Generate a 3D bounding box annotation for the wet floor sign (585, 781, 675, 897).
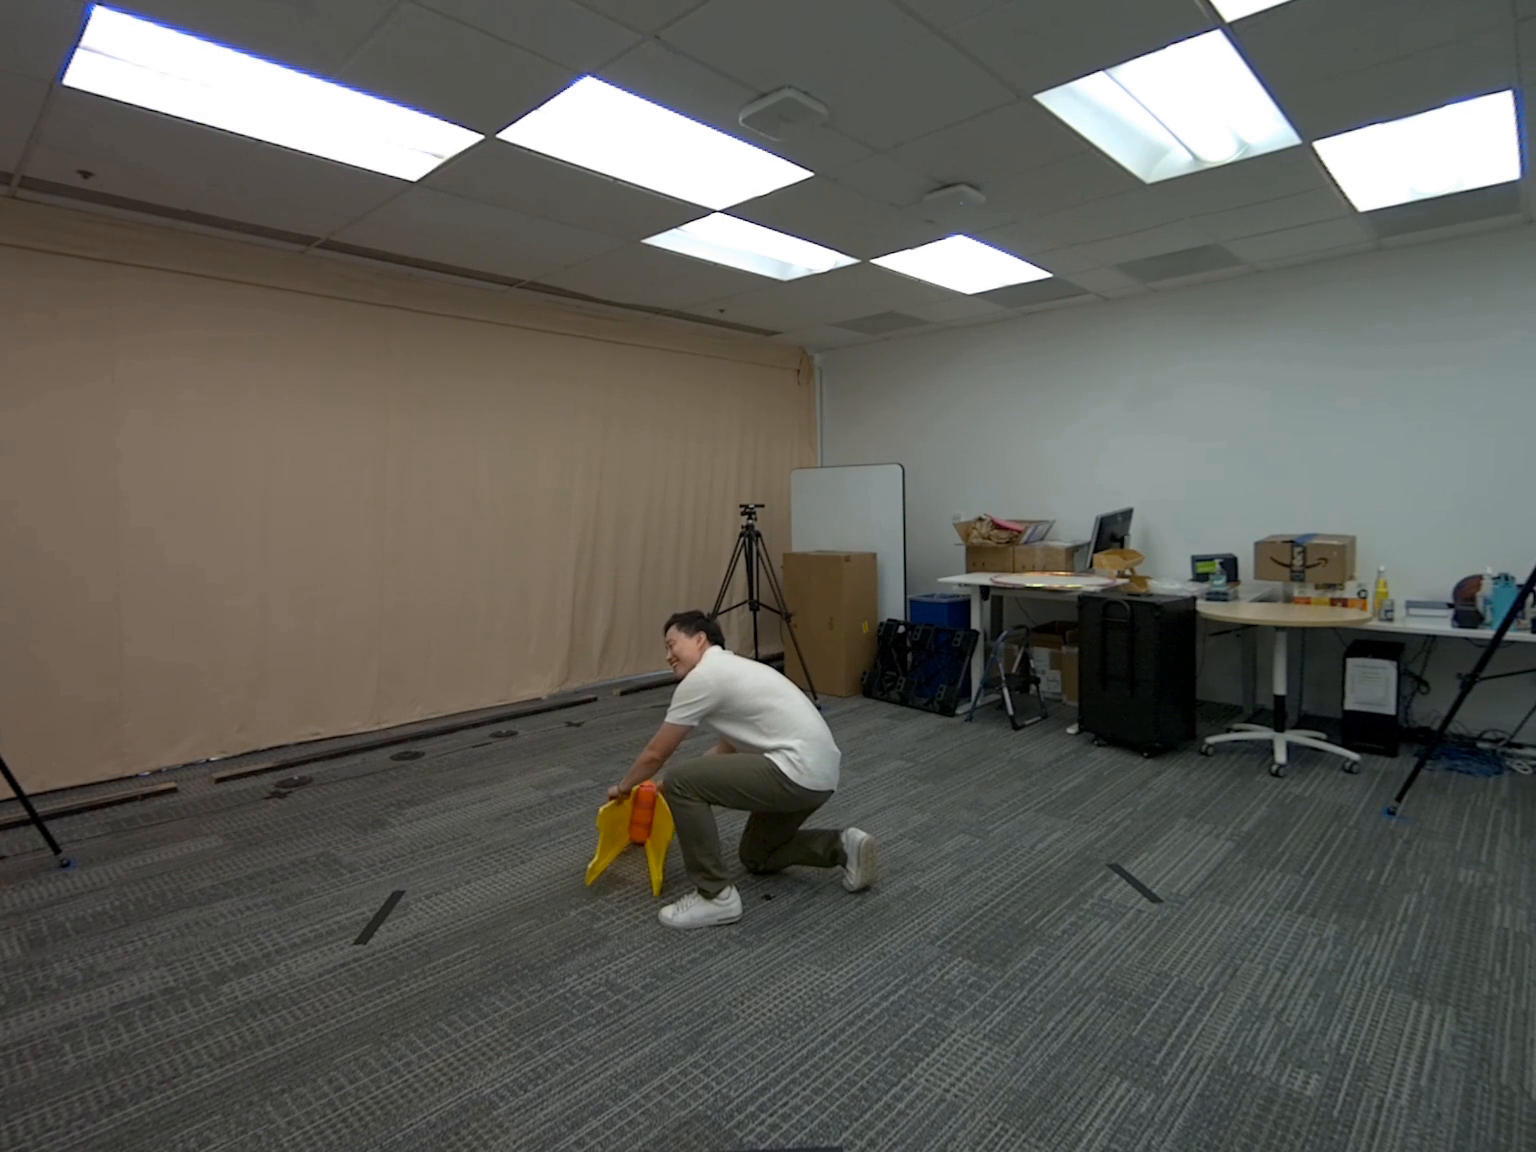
[{"bbox_3d":[-0.515,0.982,3.321,0.289,0.282,0.646,10,-1,-2],"label":"wet floor sign"}]
